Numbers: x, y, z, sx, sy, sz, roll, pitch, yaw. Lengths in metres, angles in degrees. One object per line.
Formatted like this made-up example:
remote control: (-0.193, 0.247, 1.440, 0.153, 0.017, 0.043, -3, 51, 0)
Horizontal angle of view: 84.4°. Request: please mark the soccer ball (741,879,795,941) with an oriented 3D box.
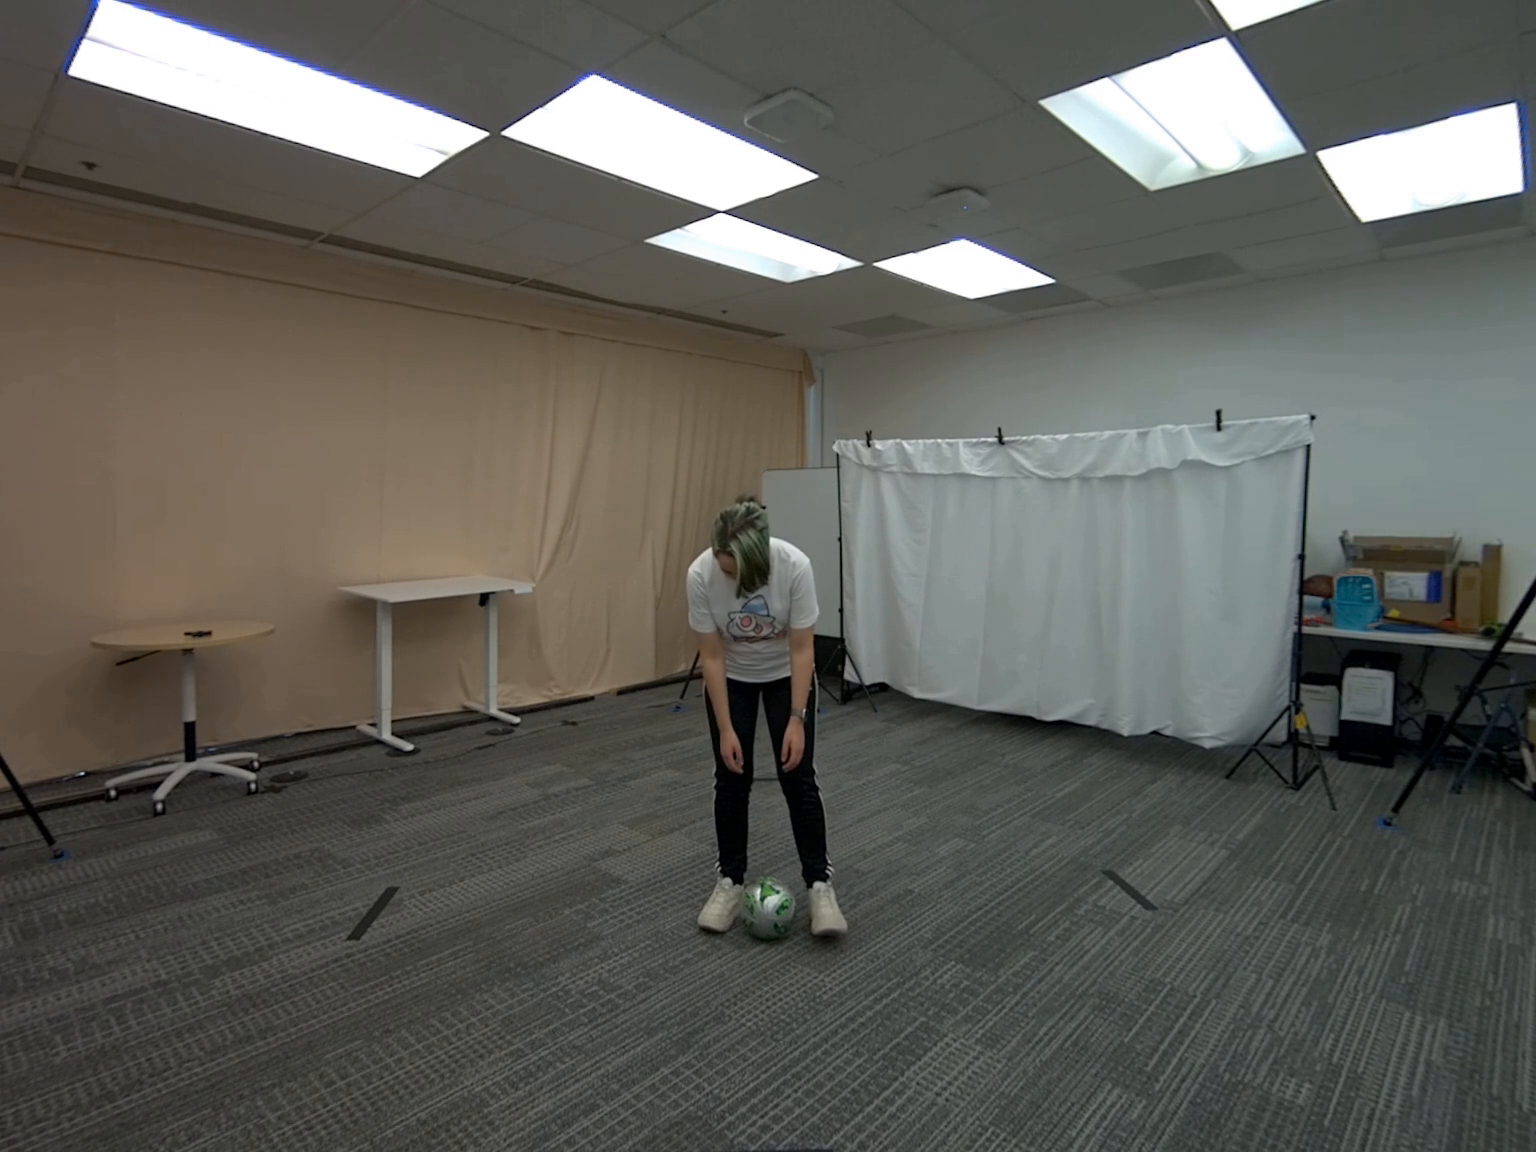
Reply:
soccer ball: (0.004, 1.076, 2.727, 0.187, 0.187, 0.188, 0, 4, -2)
